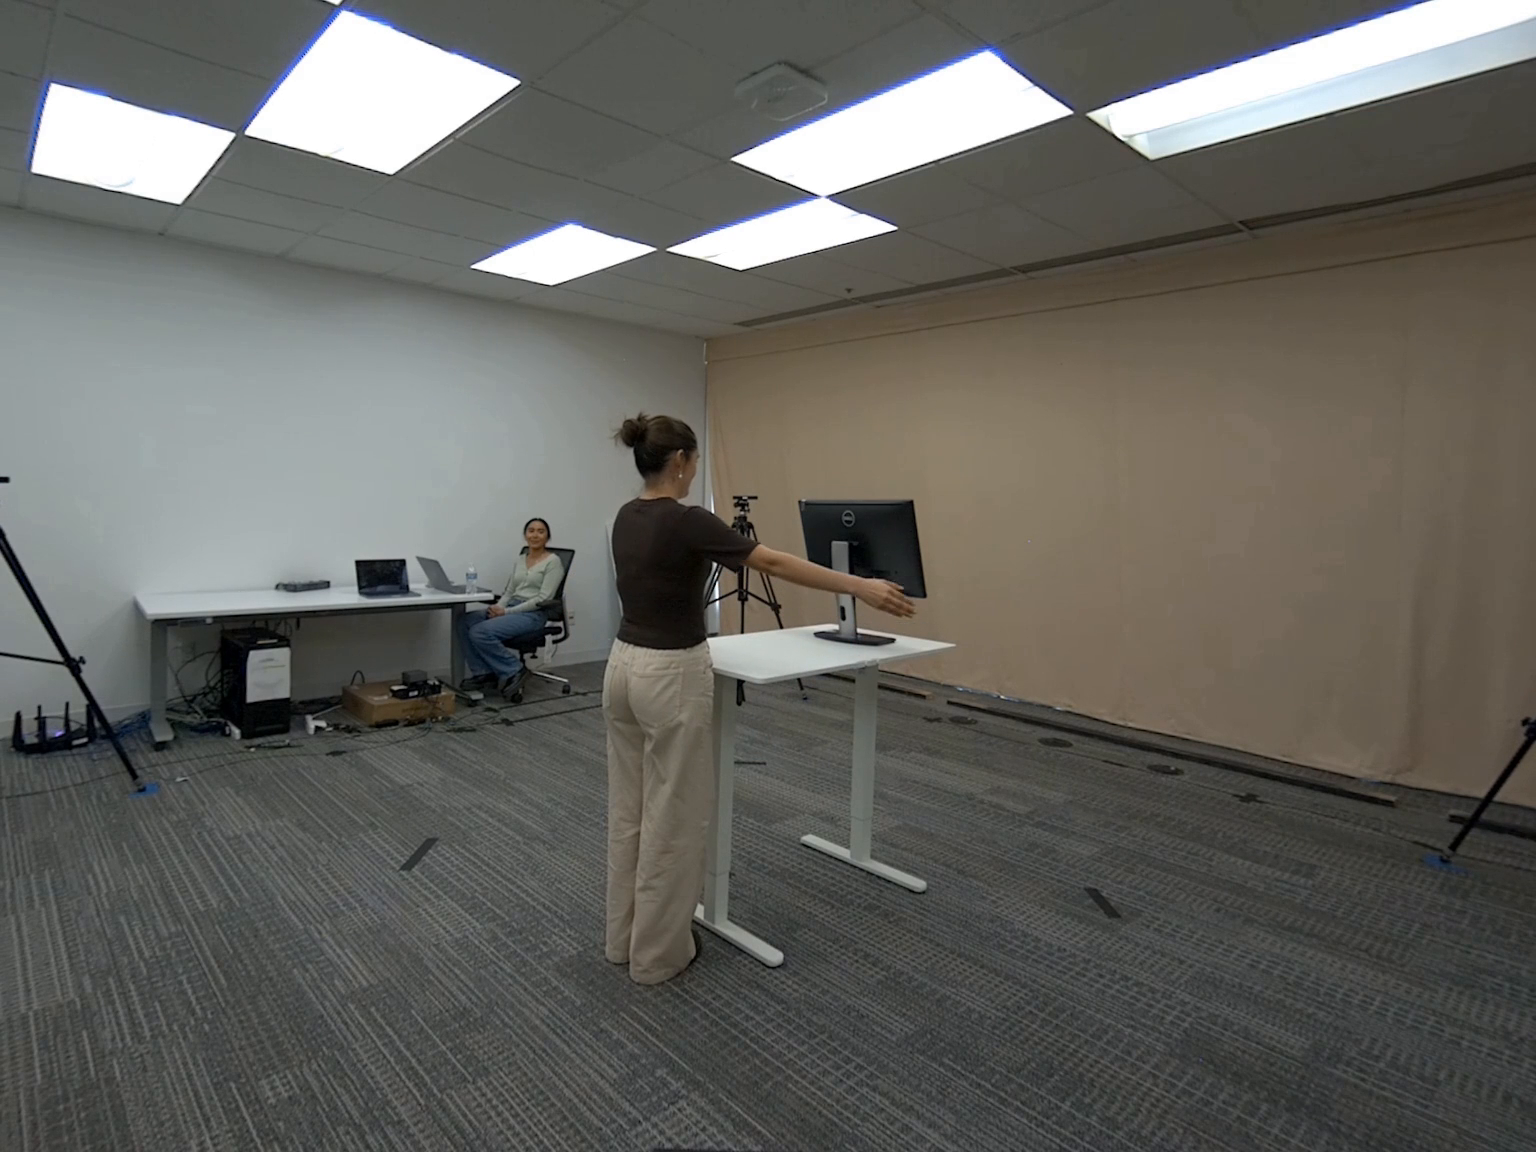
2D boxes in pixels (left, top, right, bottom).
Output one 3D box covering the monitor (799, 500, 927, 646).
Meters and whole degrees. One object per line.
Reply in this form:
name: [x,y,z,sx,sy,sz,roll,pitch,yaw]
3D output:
monitor: [0.308,-0.016,3.074,0.183,0.521,0.553,-5,6,-44]
